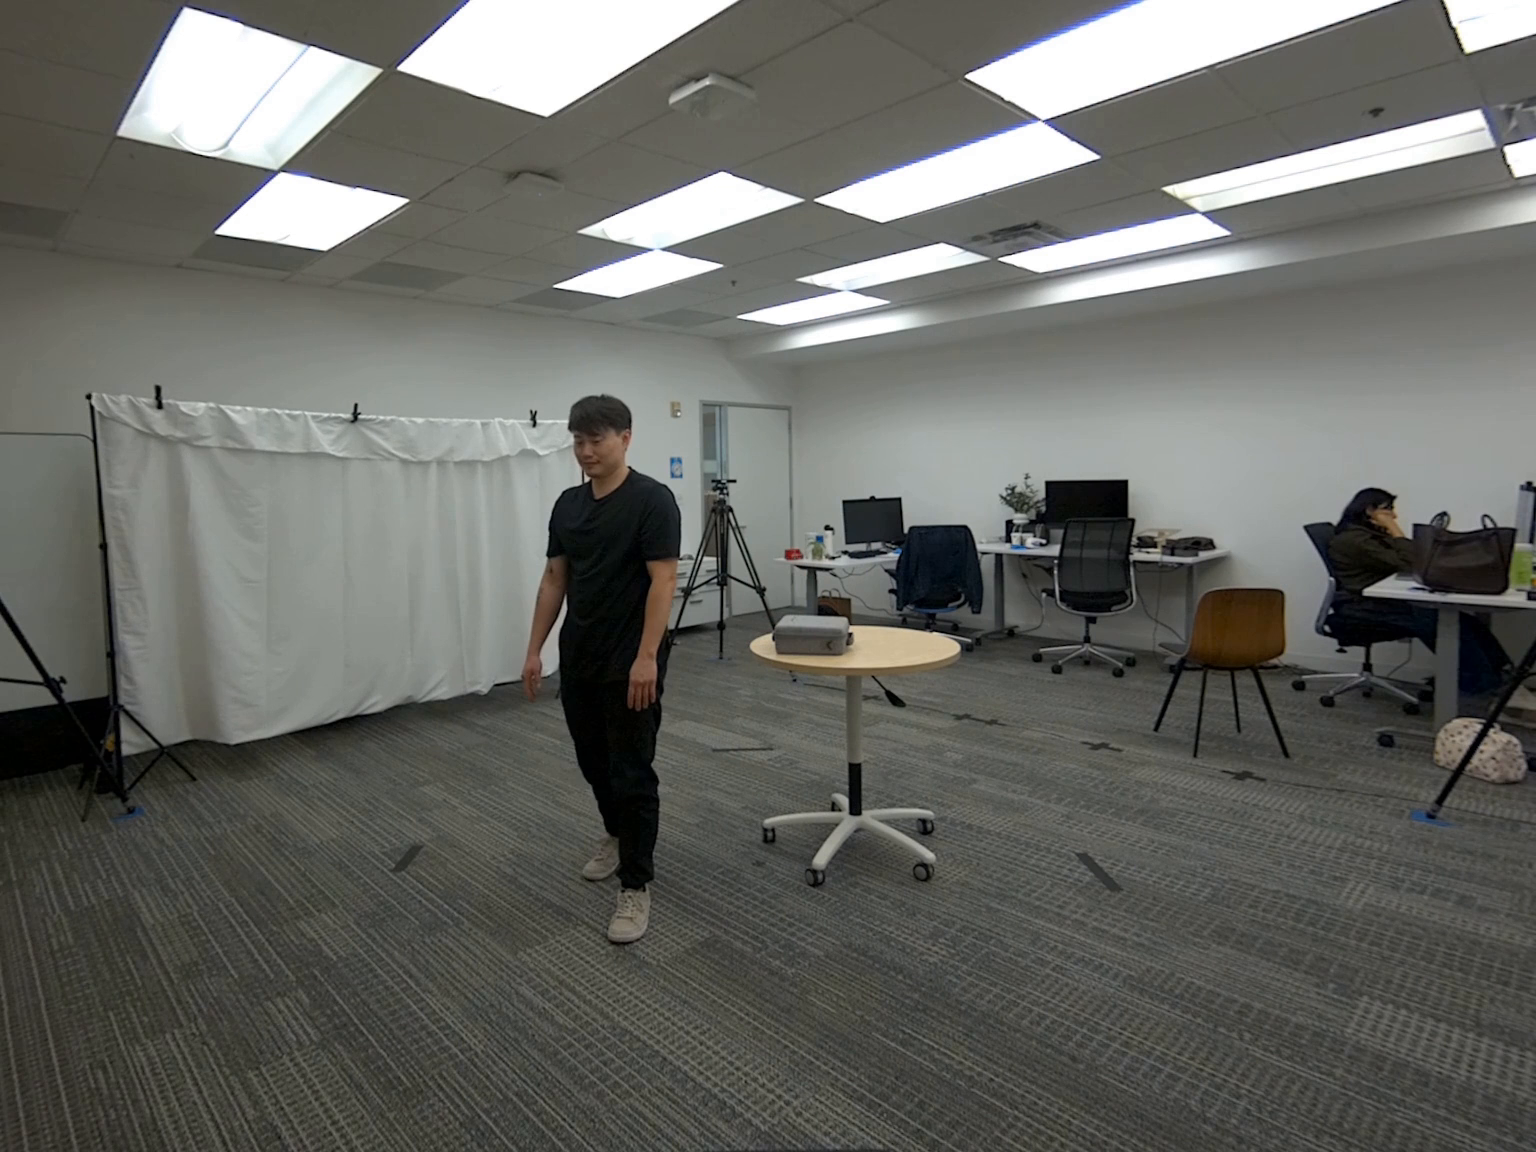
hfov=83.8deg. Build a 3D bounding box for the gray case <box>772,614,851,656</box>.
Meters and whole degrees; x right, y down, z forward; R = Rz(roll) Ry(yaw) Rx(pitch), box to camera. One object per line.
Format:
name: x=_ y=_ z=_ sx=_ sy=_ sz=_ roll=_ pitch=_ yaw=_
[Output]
gray case: x=0.165 y=0.209 z=3.099 sx=0.264 sy=0.104 sz=0.255 roll=1 pitch=6 yaw=11
